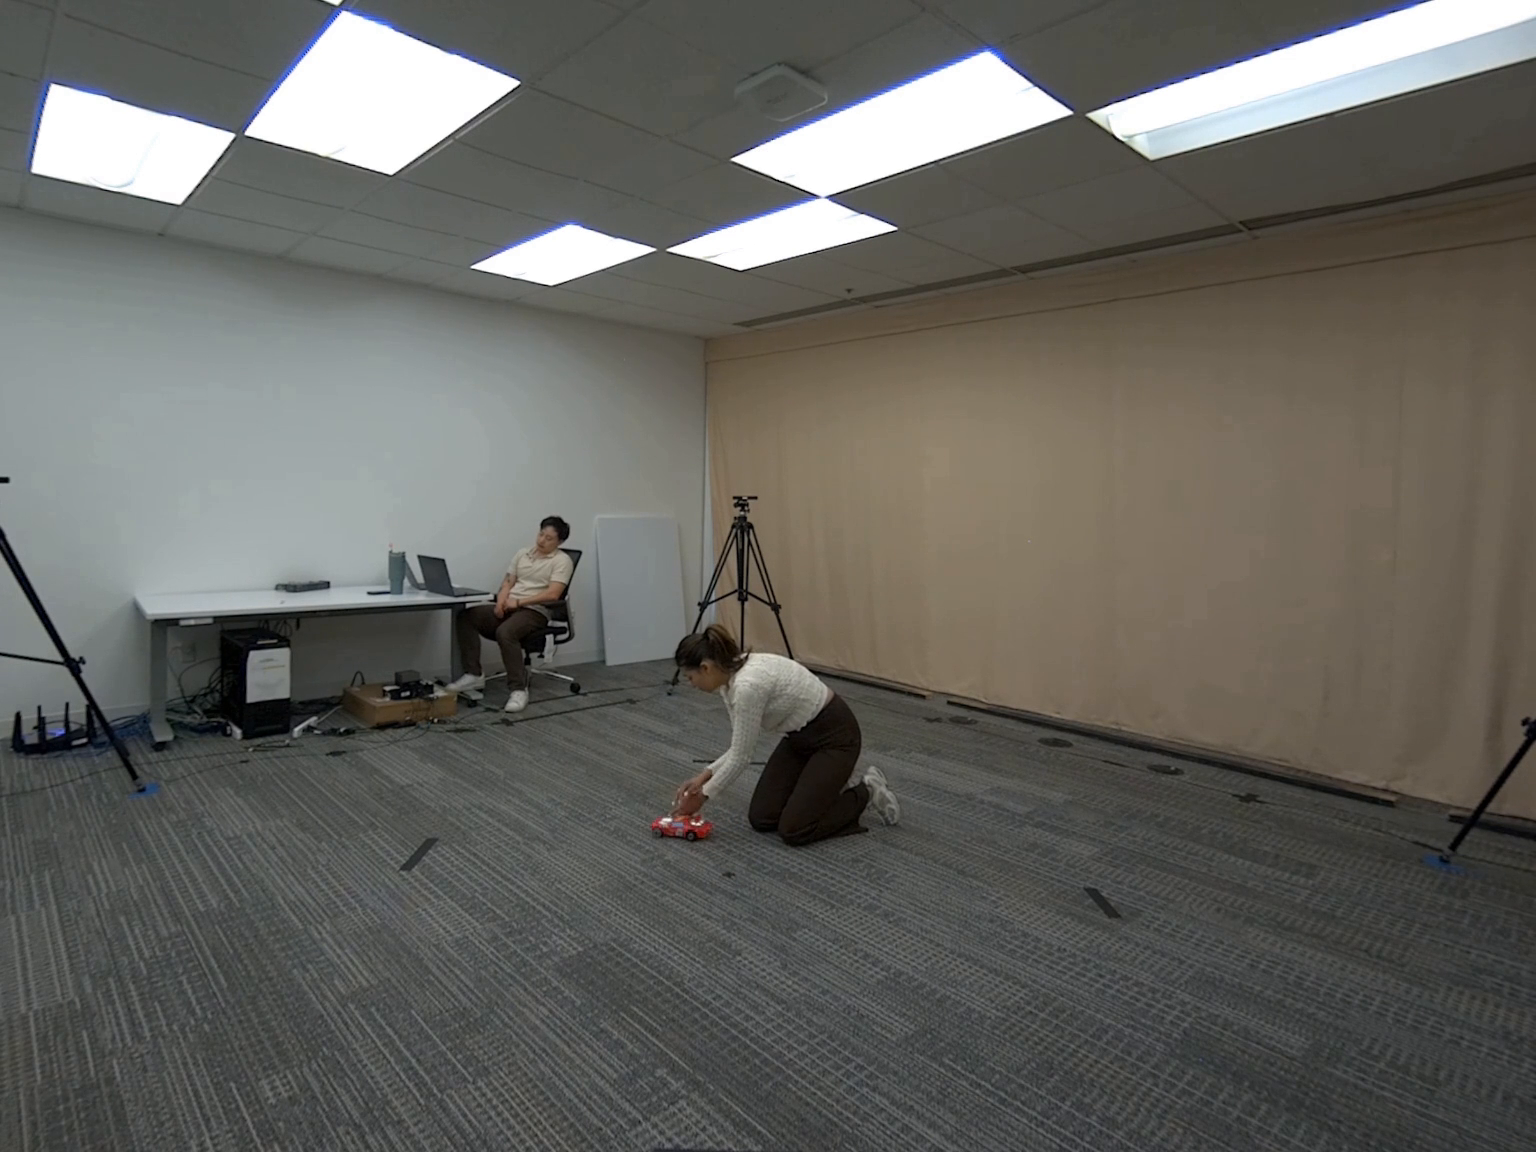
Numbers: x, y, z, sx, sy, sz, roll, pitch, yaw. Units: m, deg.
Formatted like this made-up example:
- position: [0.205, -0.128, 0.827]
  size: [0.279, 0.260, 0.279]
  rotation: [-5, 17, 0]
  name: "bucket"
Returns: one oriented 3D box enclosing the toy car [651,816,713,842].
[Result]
- position: [-0.360, 1.037, 3.459]
  size: [0.257, 0.083, 0.129]
  rotation: [-8, 4, 14]
  name: "toy car"
